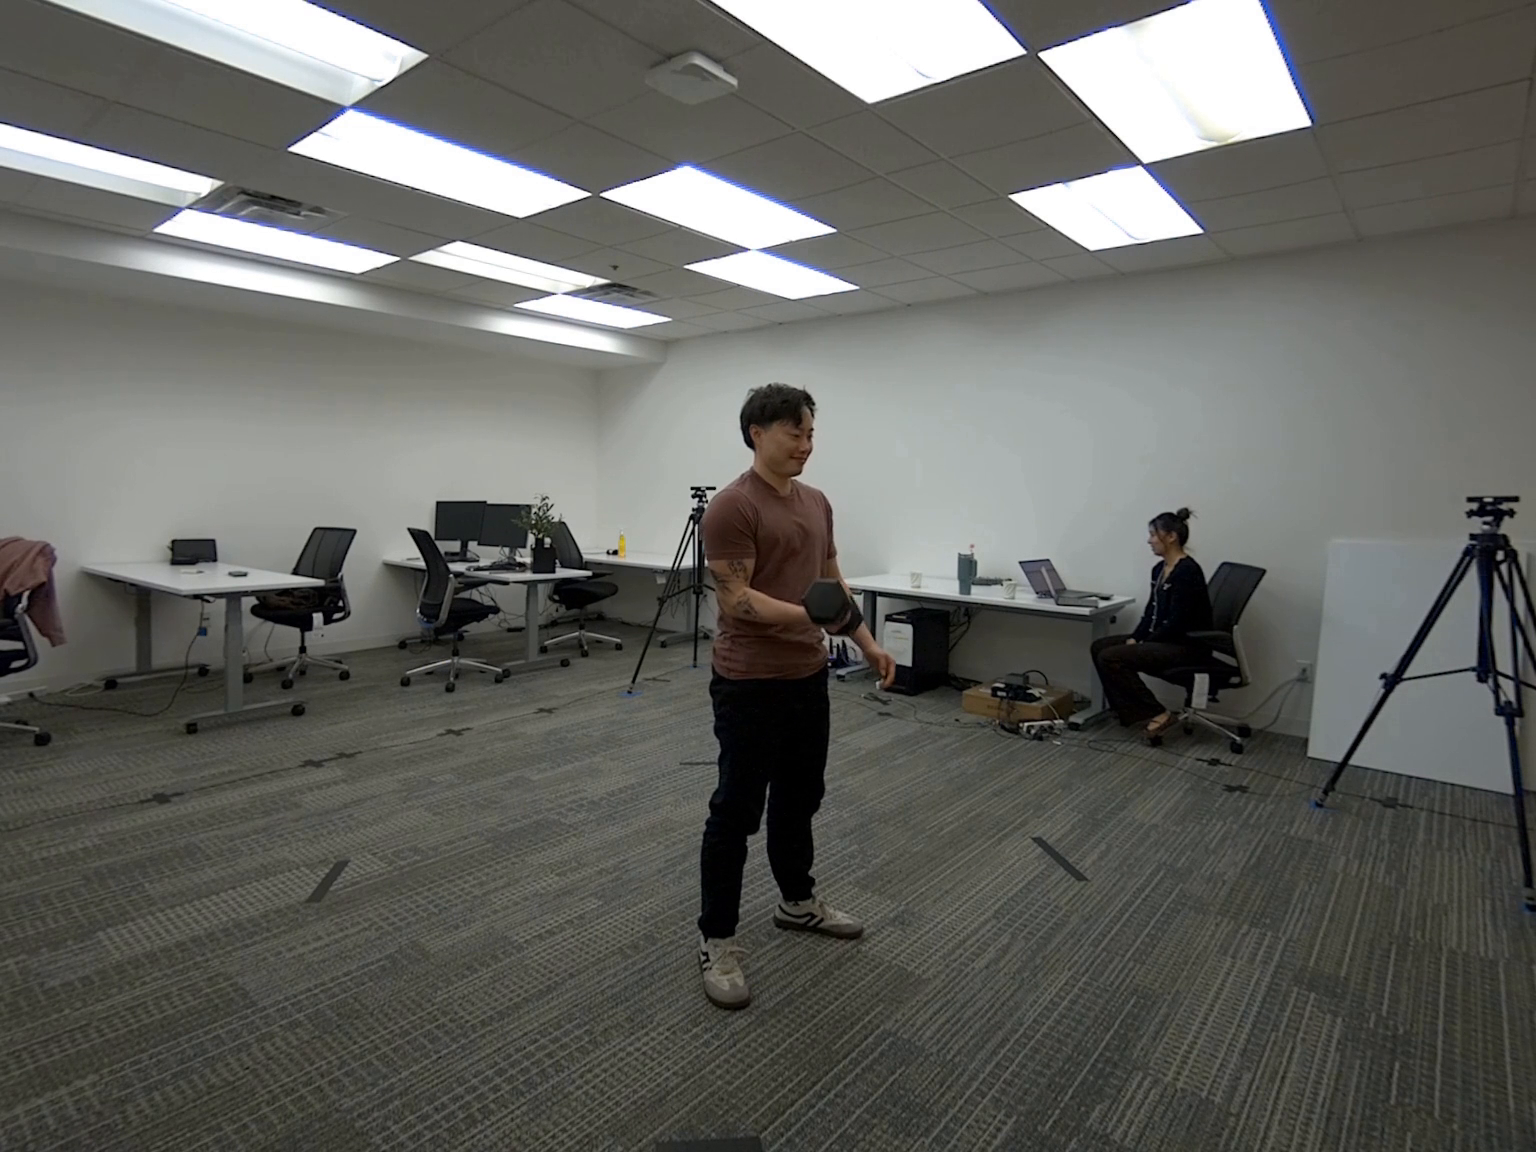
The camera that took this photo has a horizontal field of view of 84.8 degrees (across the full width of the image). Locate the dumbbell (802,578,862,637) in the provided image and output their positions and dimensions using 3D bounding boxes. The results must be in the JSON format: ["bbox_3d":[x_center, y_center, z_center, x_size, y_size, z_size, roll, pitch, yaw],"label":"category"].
[{"bbox_3d":[0.158,0.075,2.206,0.111,0.123,0.287,35,-3,13],"label":"dumbbell"}]
